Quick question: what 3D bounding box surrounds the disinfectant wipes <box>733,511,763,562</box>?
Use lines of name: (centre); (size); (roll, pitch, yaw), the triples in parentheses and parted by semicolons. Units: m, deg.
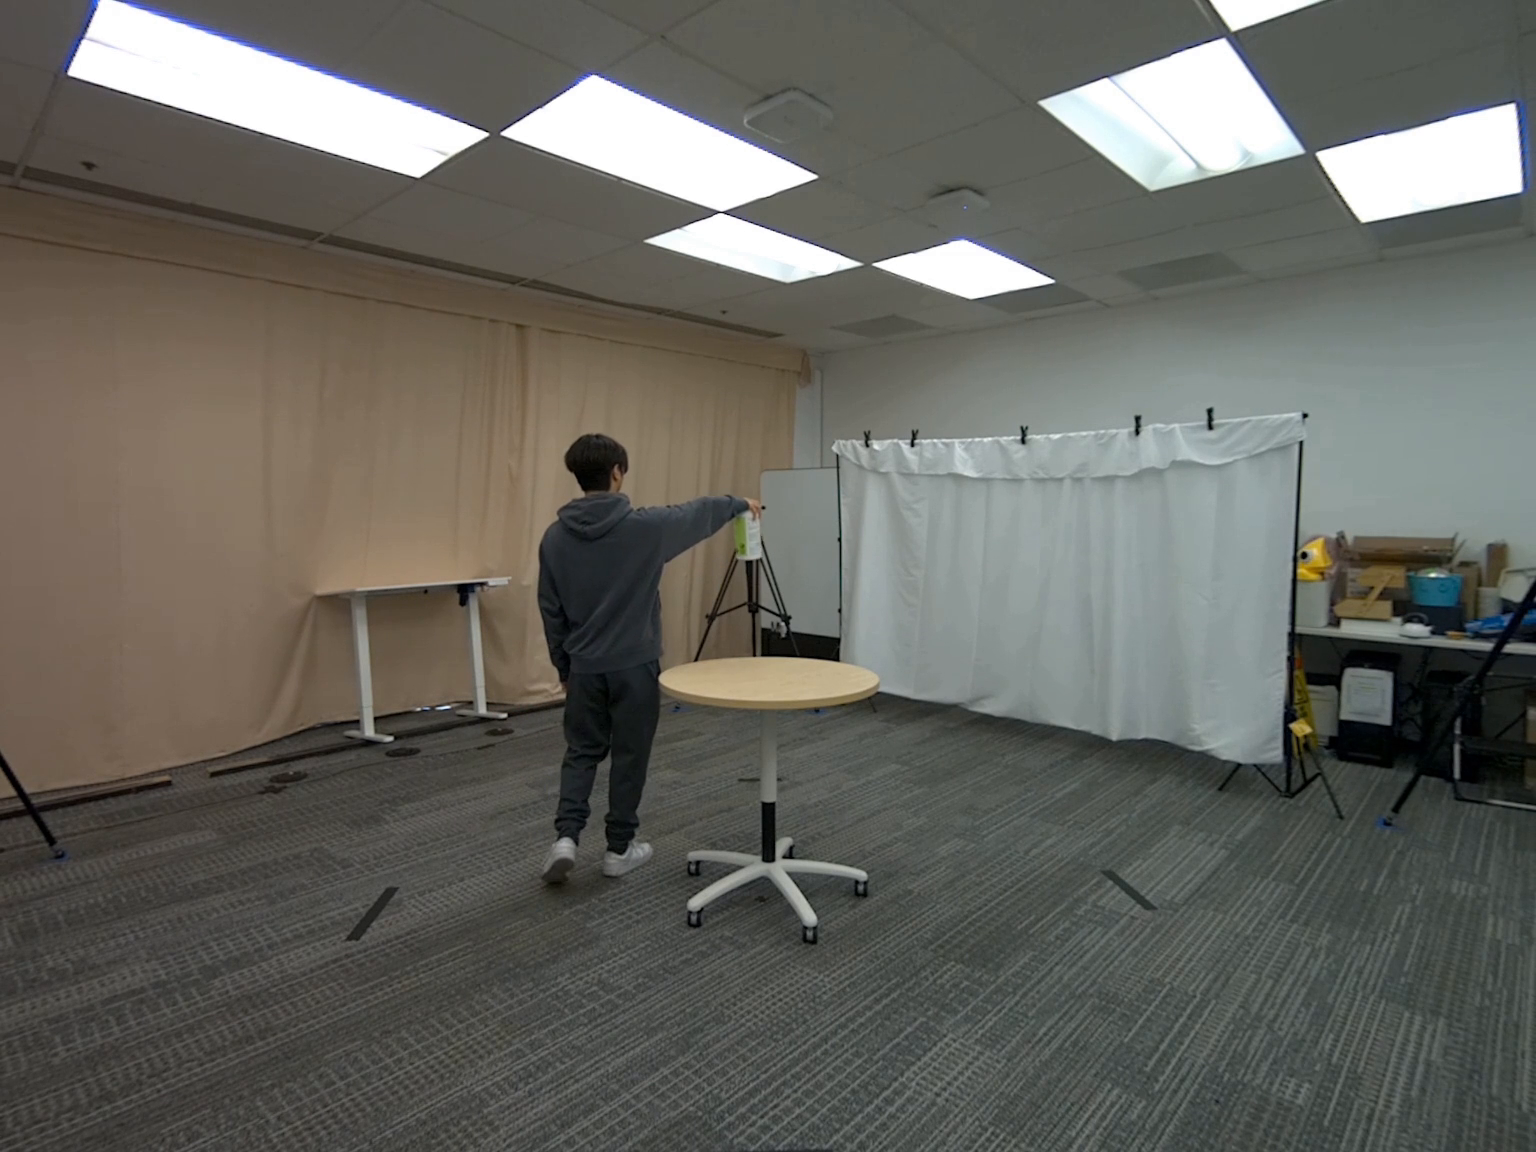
disinfectant wipes: (-0.085, -0.180, 3.575); (0.118, 0.216, 0.119); (-3, 11, -1)
